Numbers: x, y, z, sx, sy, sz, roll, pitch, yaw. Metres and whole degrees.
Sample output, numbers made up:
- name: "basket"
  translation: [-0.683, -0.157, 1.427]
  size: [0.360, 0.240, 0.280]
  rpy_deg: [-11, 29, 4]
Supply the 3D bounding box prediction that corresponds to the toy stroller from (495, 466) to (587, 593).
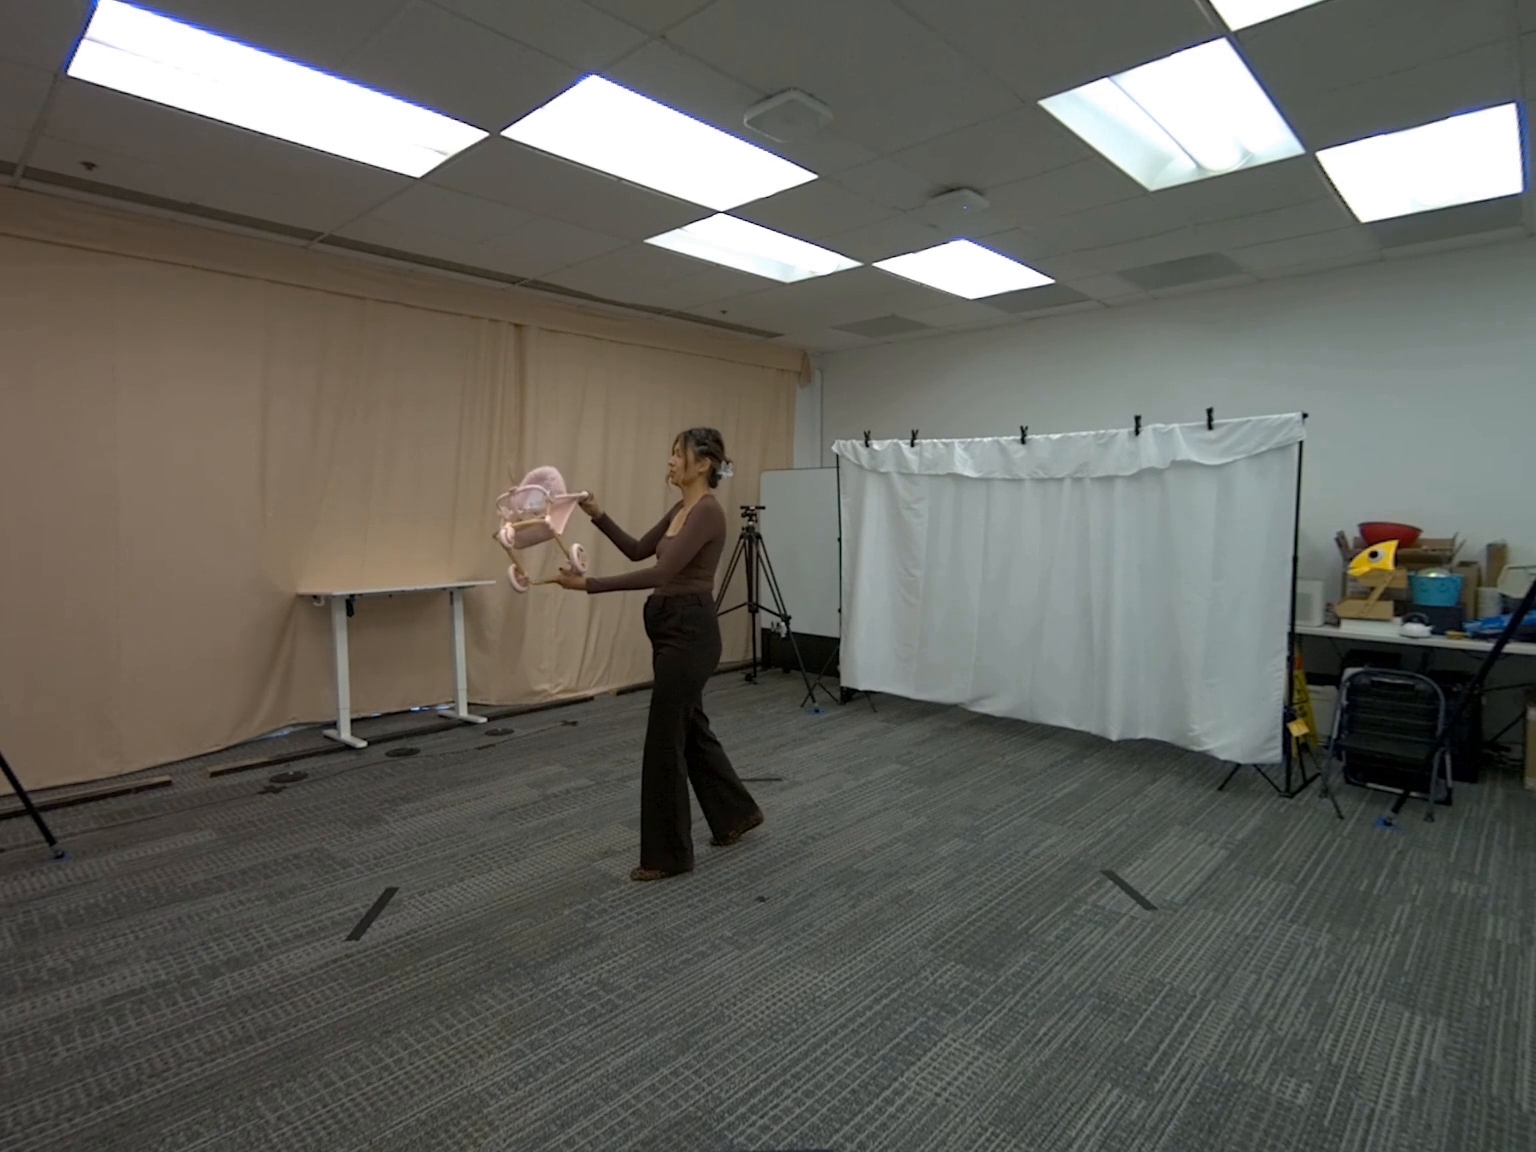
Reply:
- name: "toy stroller"
  translation: [-0.813, -0.198, 3.029]
  size: [0.285, 0.545, 0.330]
  rpy_deg: [-19, -47, 17]
